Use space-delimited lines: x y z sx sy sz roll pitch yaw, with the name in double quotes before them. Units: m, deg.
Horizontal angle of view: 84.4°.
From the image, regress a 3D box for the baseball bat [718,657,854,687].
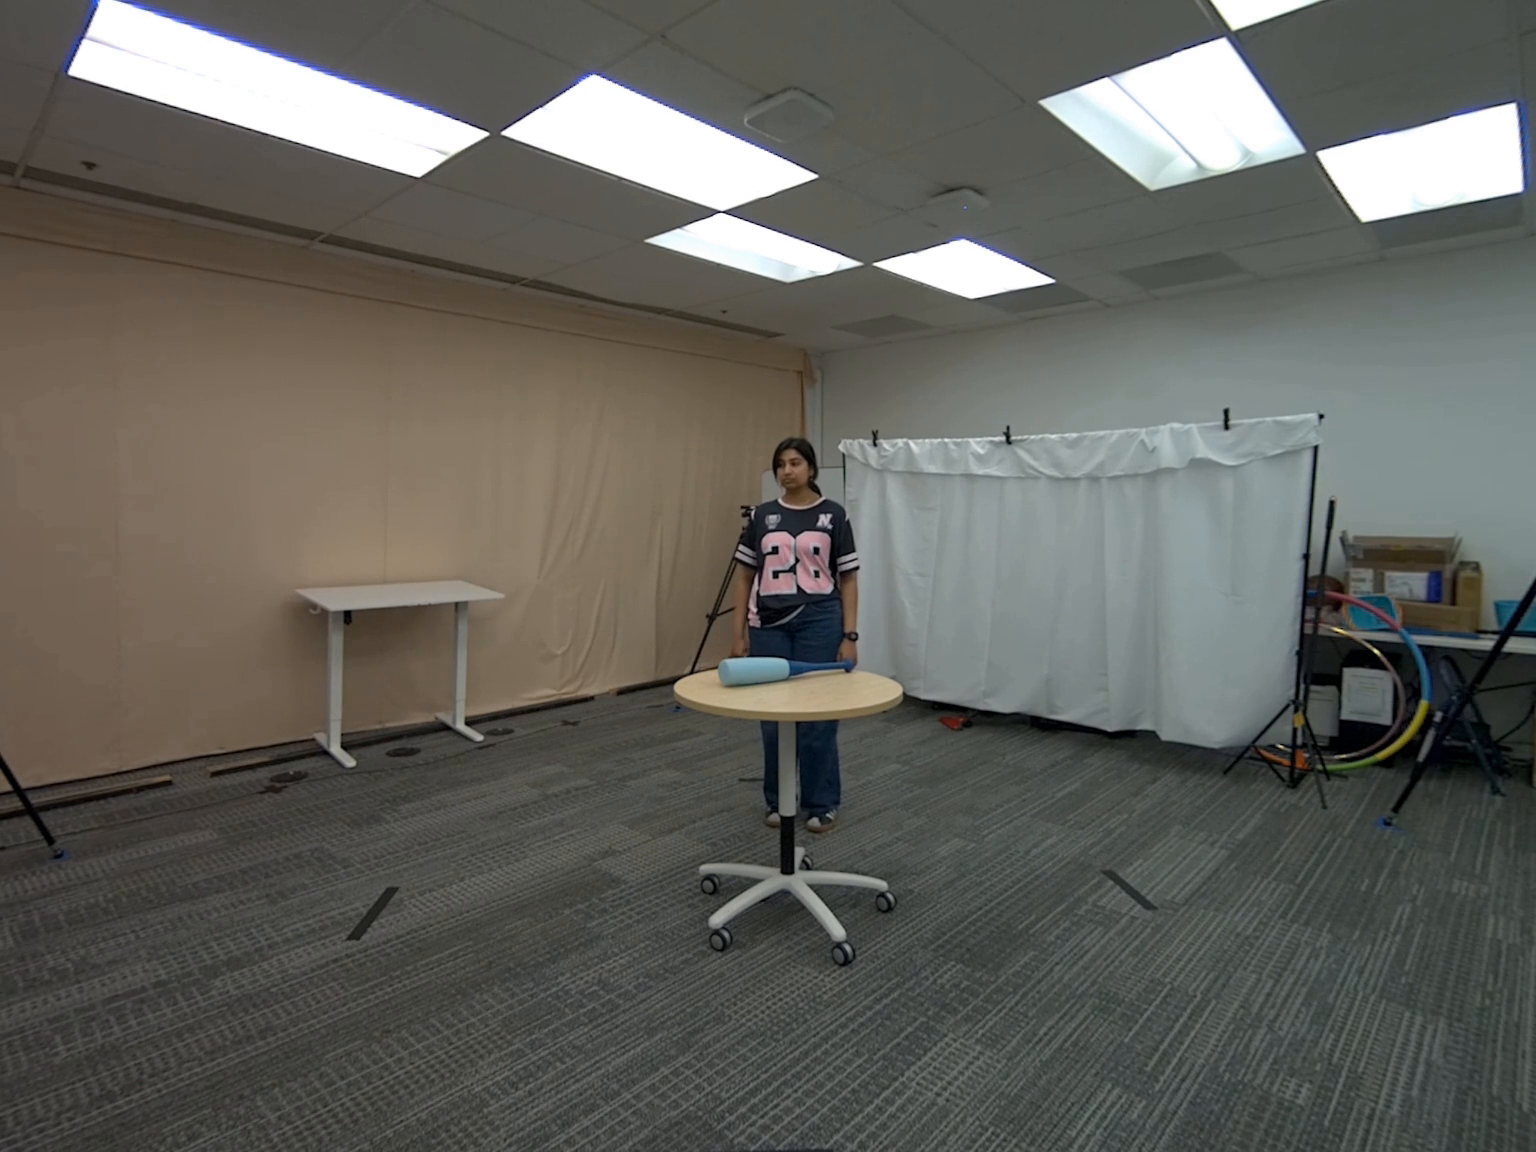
"baseball bat" 0.078 0.326 2.955 0.528 0.089 0.092 0 3 -31
